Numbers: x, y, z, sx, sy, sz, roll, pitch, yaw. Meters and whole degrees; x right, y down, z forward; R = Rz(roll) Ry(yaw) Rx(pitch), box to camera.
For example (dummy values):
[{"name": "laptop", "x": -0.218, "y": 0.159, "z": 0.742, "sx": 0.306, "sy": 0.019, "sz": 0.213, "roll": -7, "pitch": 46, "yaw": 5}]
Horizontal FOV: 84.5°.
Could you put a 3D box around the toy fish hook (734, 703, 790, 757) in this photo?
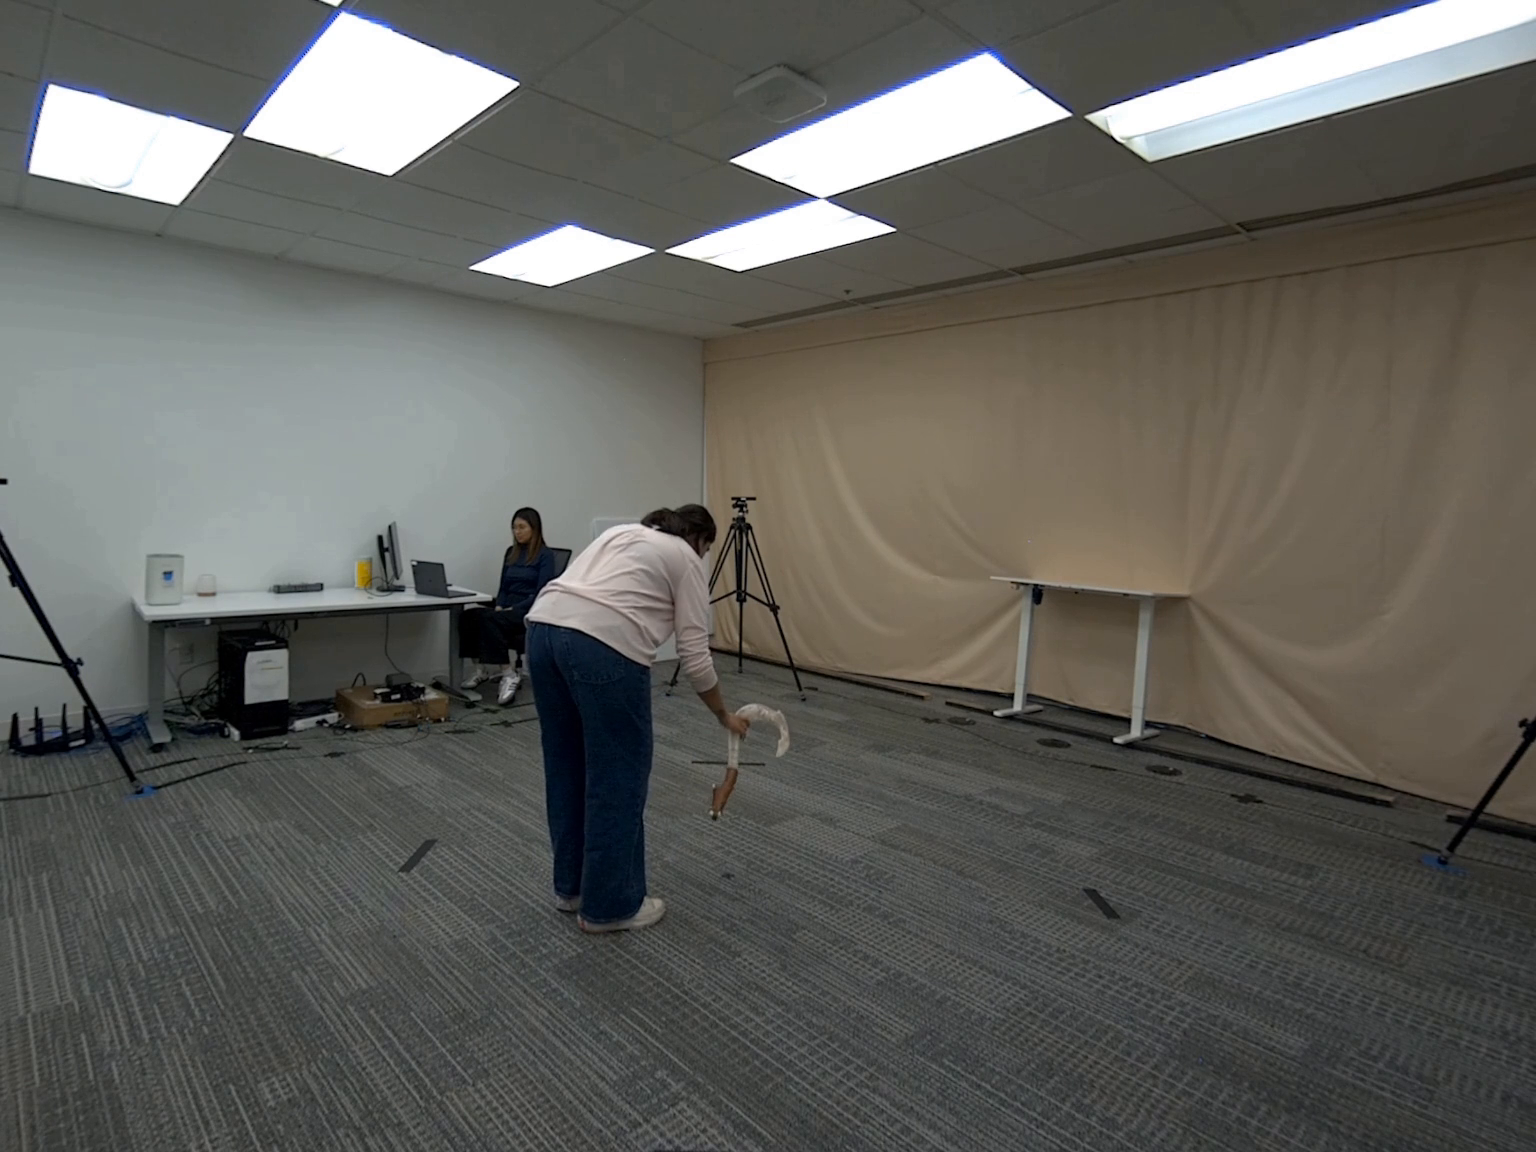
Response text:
[{"name": "toy fish hook", "x": -0.071, "y": 0.658, "z": 2.933, "sx": 0.227, "sy": 0.047, "sz": 0.512, "roll": 13, "pitch": 44, "yaw": 10}]
